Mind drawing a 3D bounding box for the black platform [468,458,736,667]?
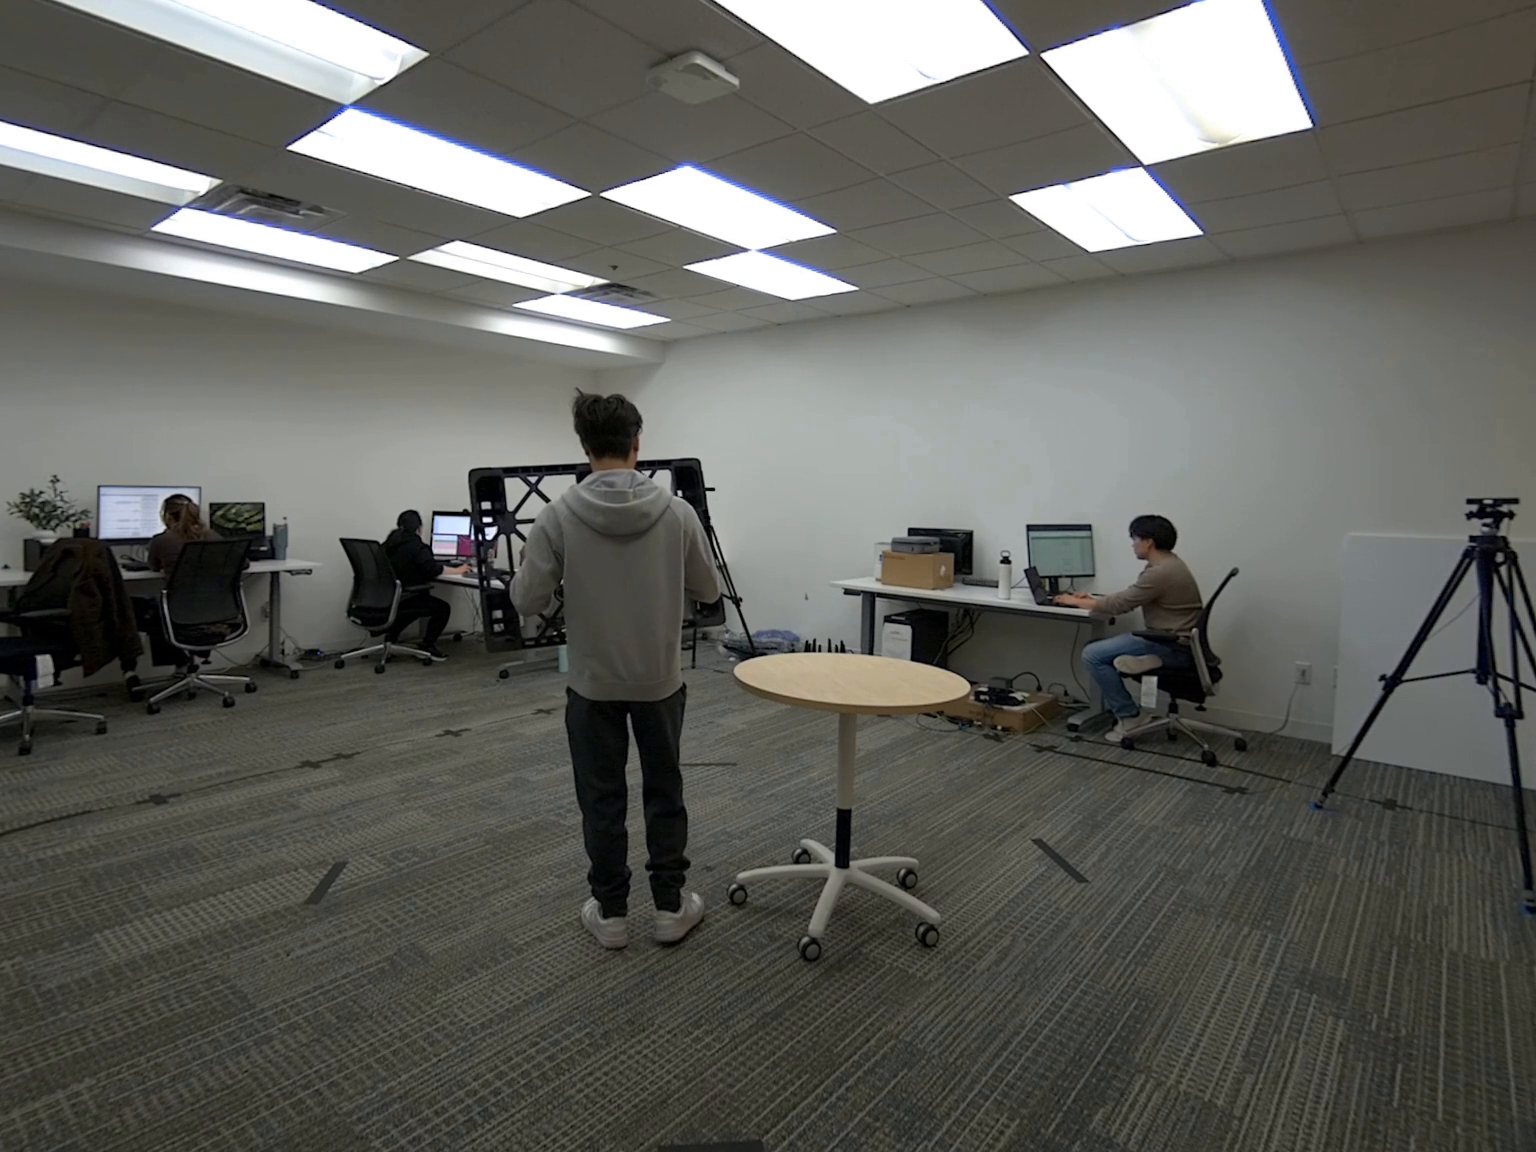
[{"bbox_3d":[-0.581,-0.078,2.872,0.790,0.613,0.144,-5,-11,-21],"label":"black platform"}]
